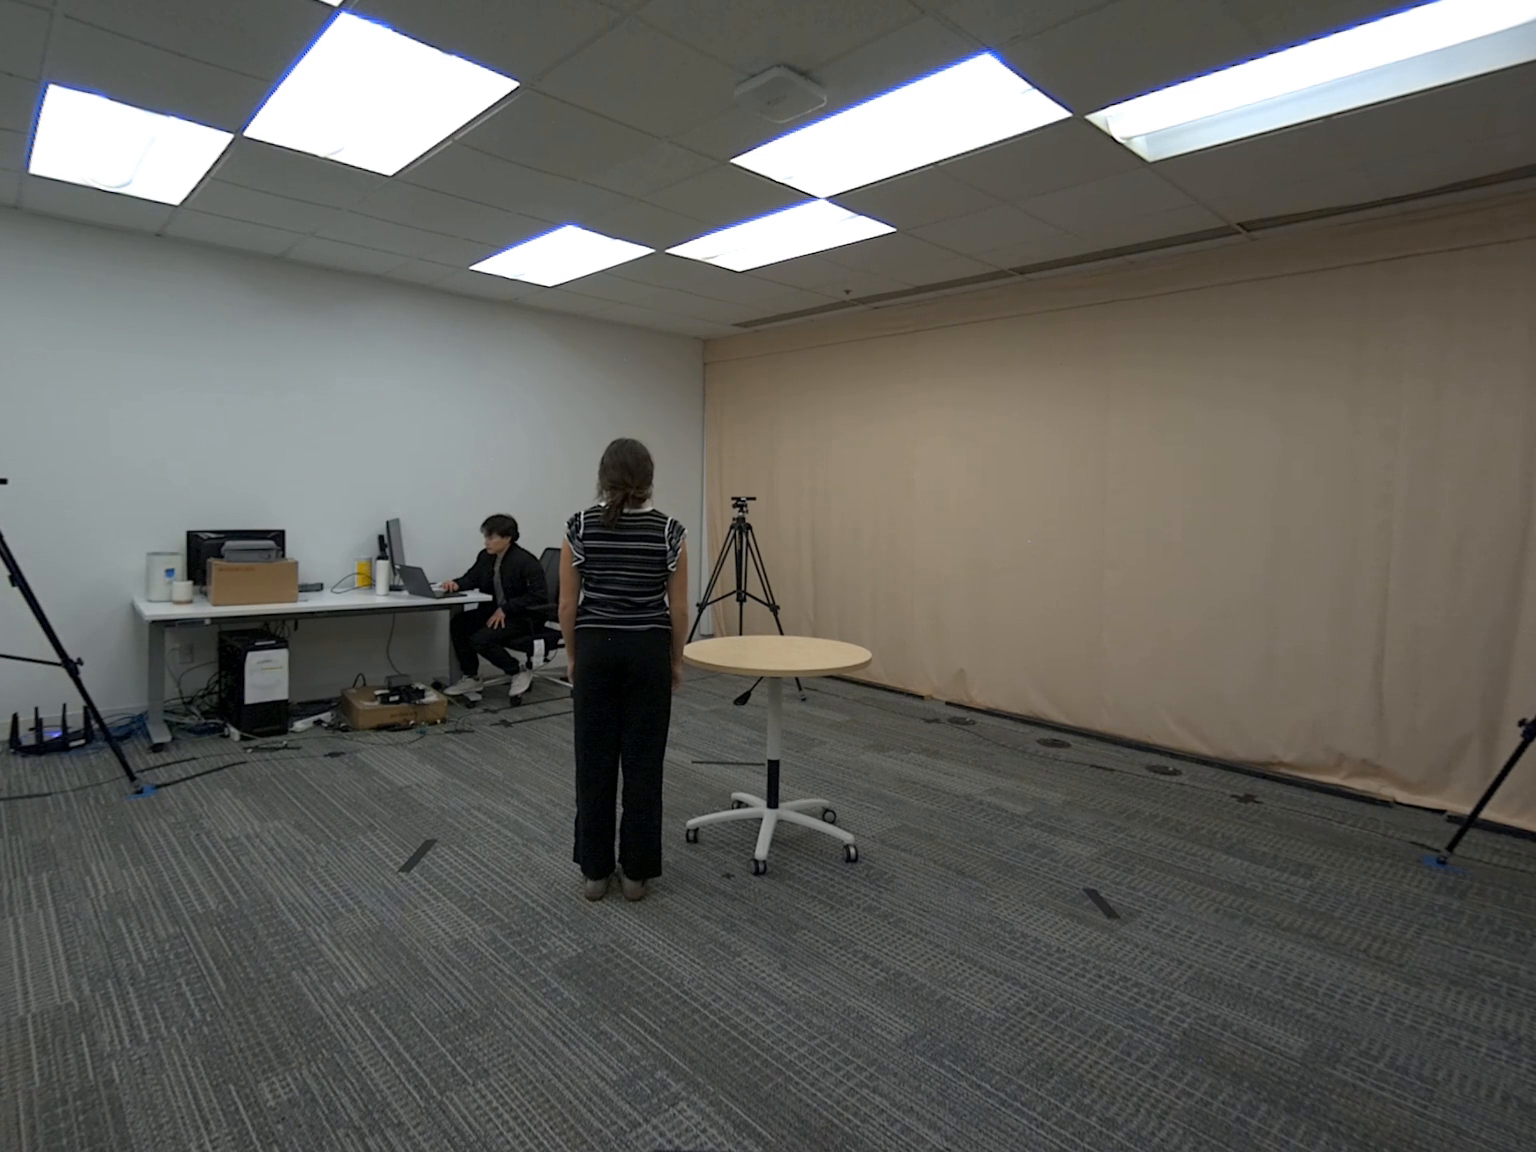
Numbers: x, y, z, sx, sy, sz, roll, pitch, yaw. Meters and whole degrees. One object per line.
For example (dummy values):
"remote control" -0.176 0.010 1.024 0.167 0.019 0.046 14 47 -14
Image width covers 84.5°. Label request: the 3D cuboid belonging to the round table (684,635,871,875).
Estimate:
"round table" 0.025 0.697 3.418 0.763 0.792 0.766 1 4 -1
